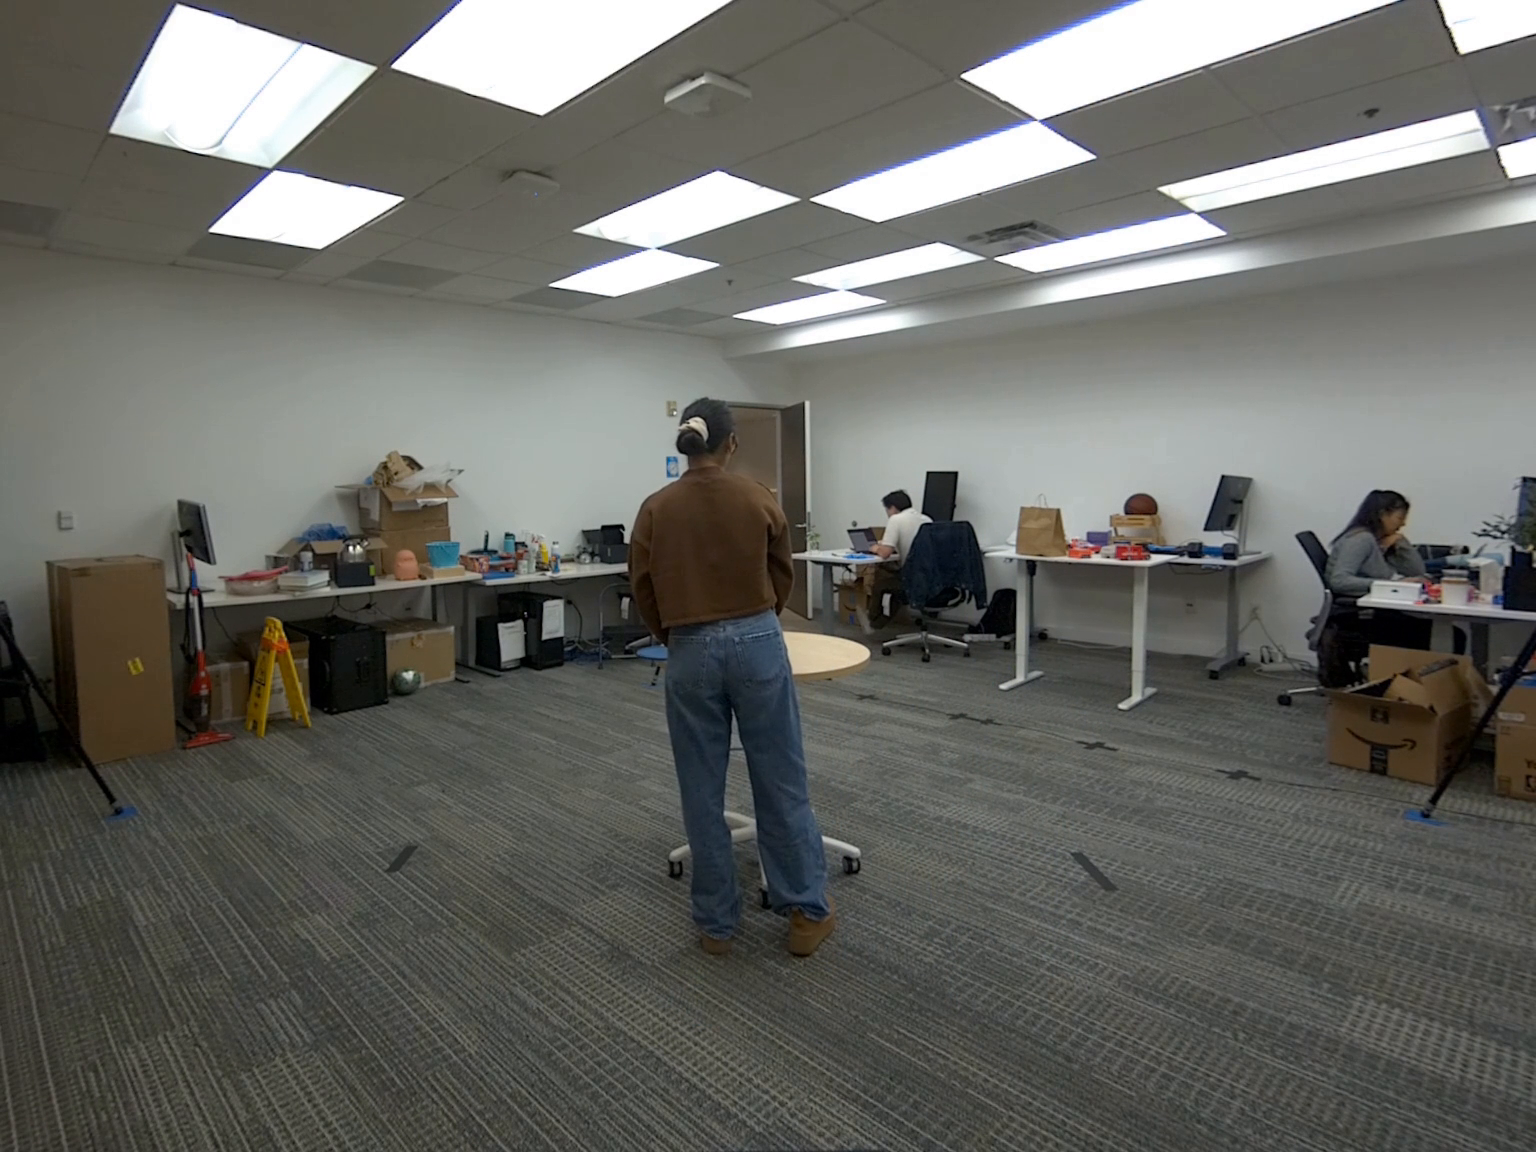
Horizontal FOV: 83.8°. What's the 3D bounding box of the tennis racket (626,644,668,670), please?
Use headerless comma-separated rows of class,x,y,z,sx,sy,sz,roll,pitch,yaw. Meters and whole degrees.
tennis racket,-0.278,0.279,2.912,0.208,0.031,0.446,-7,7,-39
